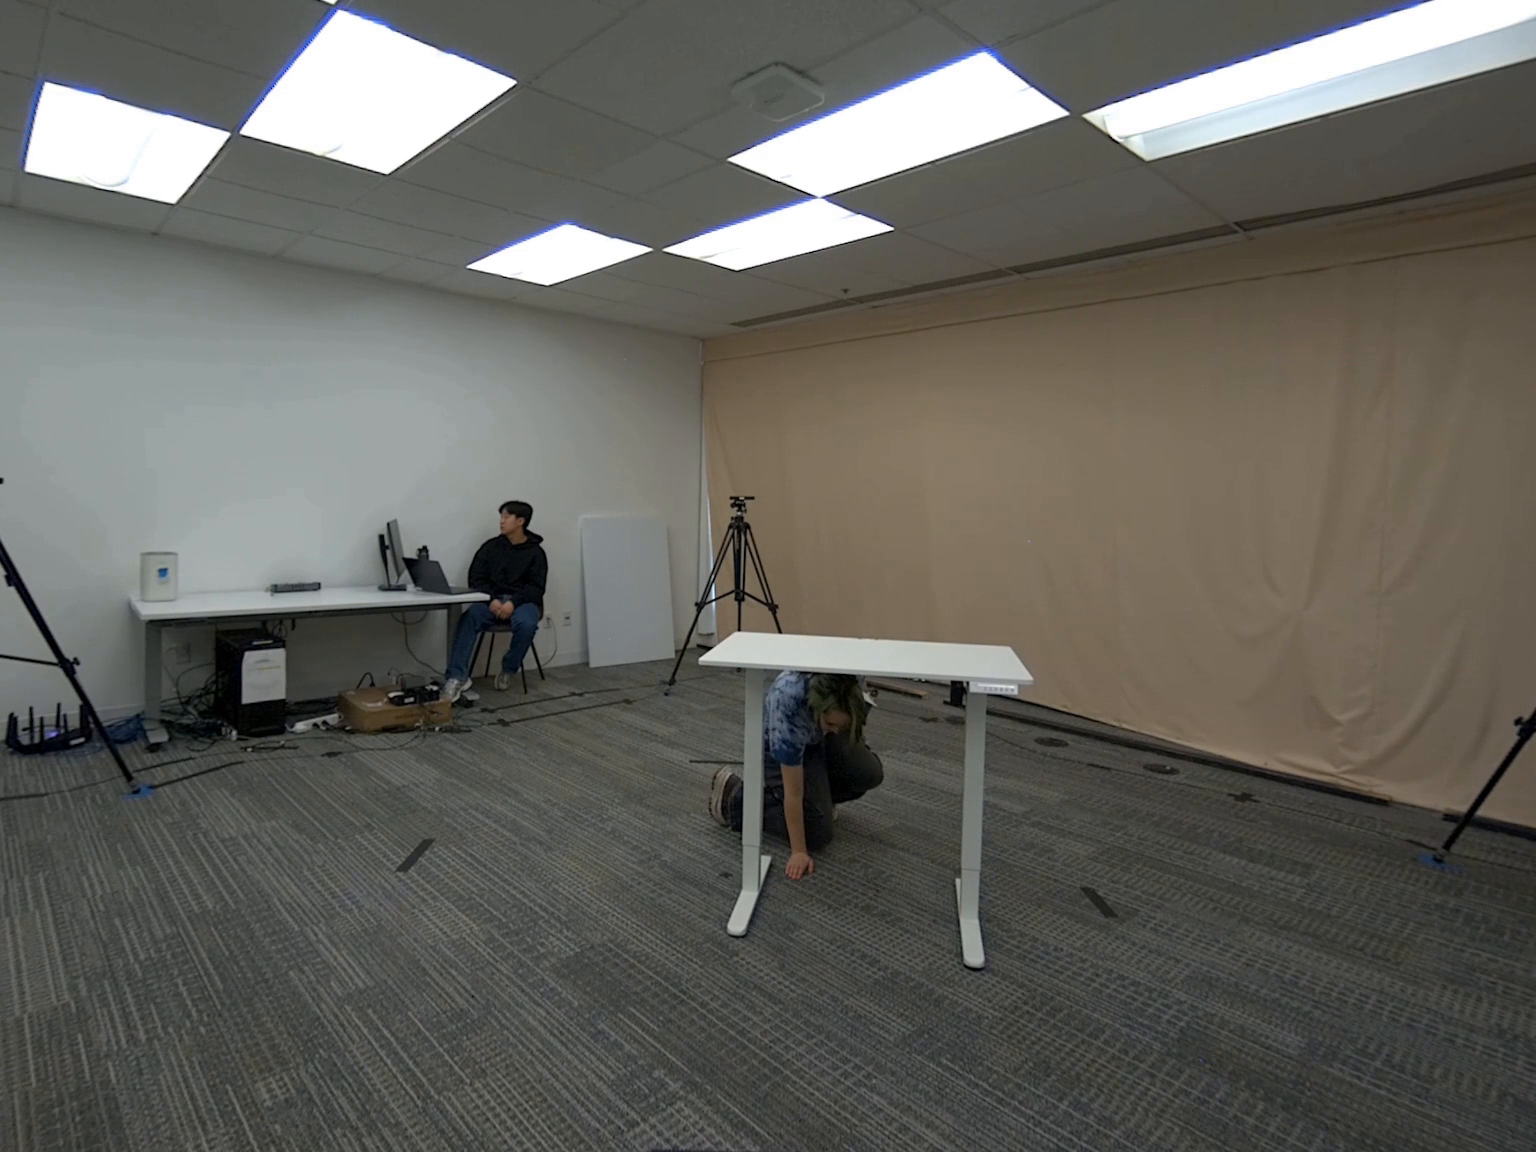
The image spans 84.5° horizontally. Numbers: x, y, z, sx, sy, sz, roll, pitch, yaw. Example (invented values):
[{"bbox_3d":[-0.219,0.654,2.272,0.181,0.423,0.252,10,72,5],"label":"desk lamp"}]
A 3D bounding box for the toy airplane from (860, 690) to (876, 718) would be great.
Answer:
[{"bbox_3d":[0.337,0.477,3.534,0.266,0.156,0.244,39,-4,27],"label":"toy airplane"}]
